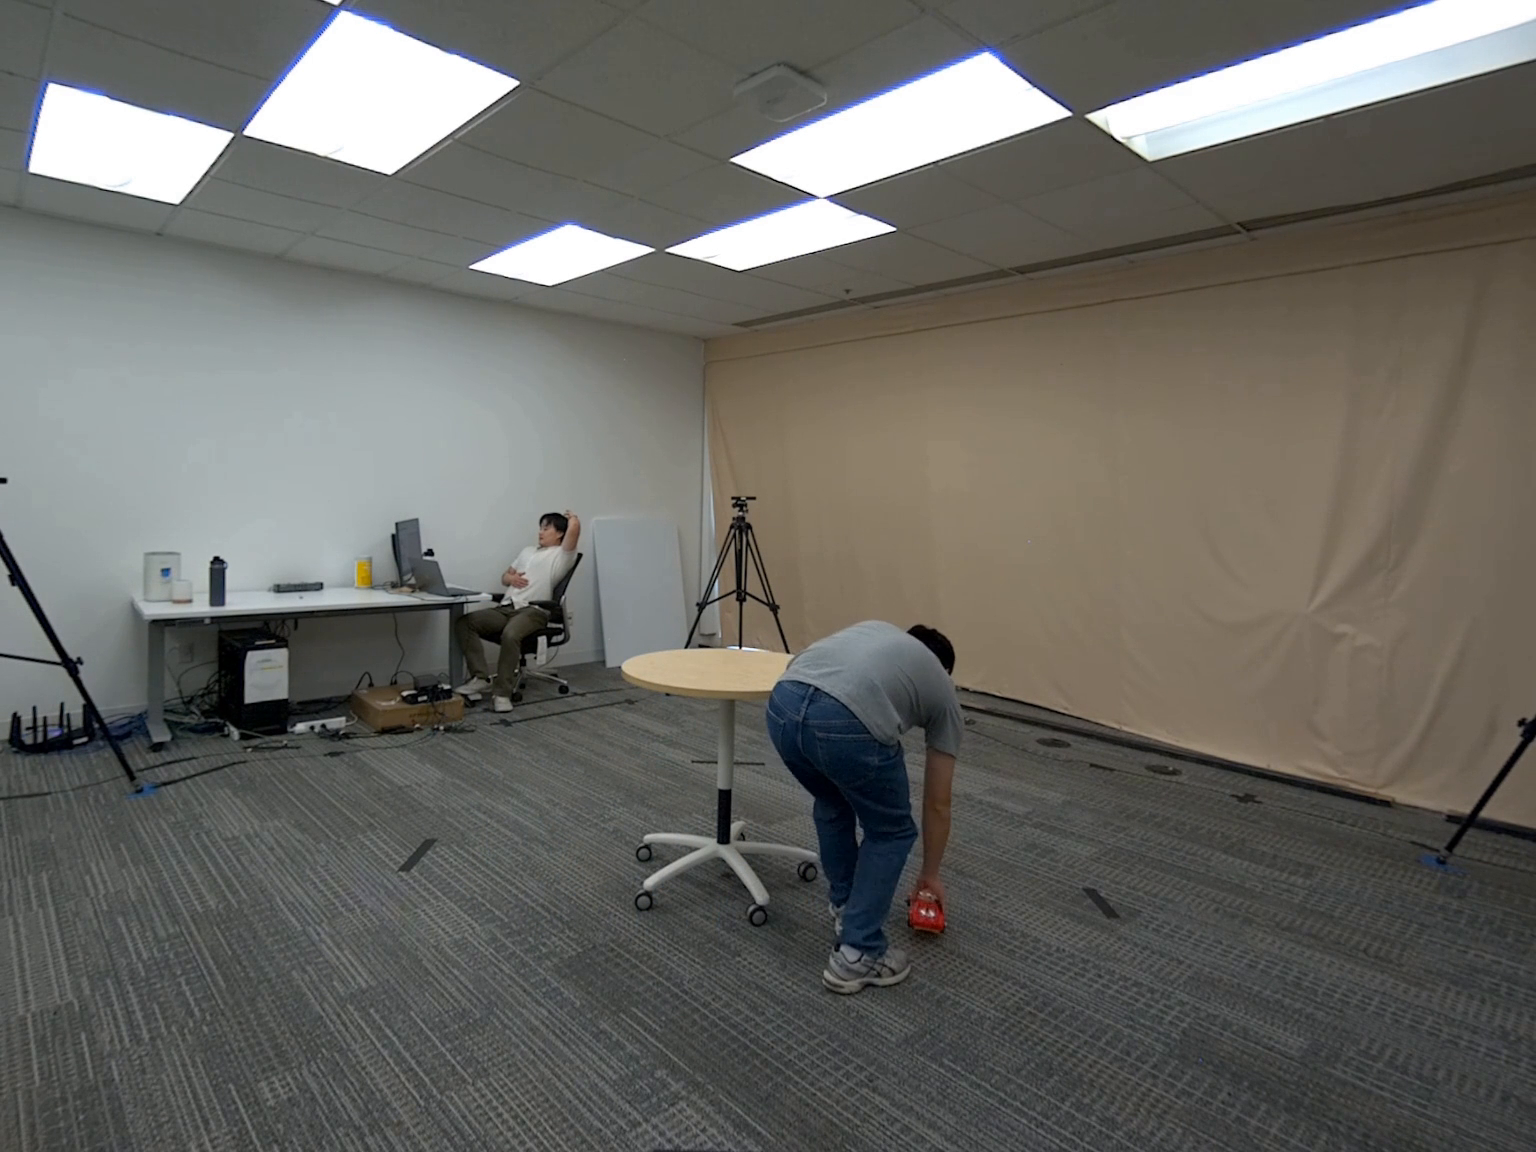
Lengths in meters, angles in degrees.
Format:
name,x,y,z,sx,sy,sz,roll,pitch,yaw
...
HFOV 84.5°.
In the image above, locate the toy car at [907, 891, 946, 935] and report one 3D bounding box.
name,x,y,z,sx,sy,sz,roll,pitch,yaw
toy car,0.504,1.103,2.743,0.131,0.083,0.251,5,-5,8
